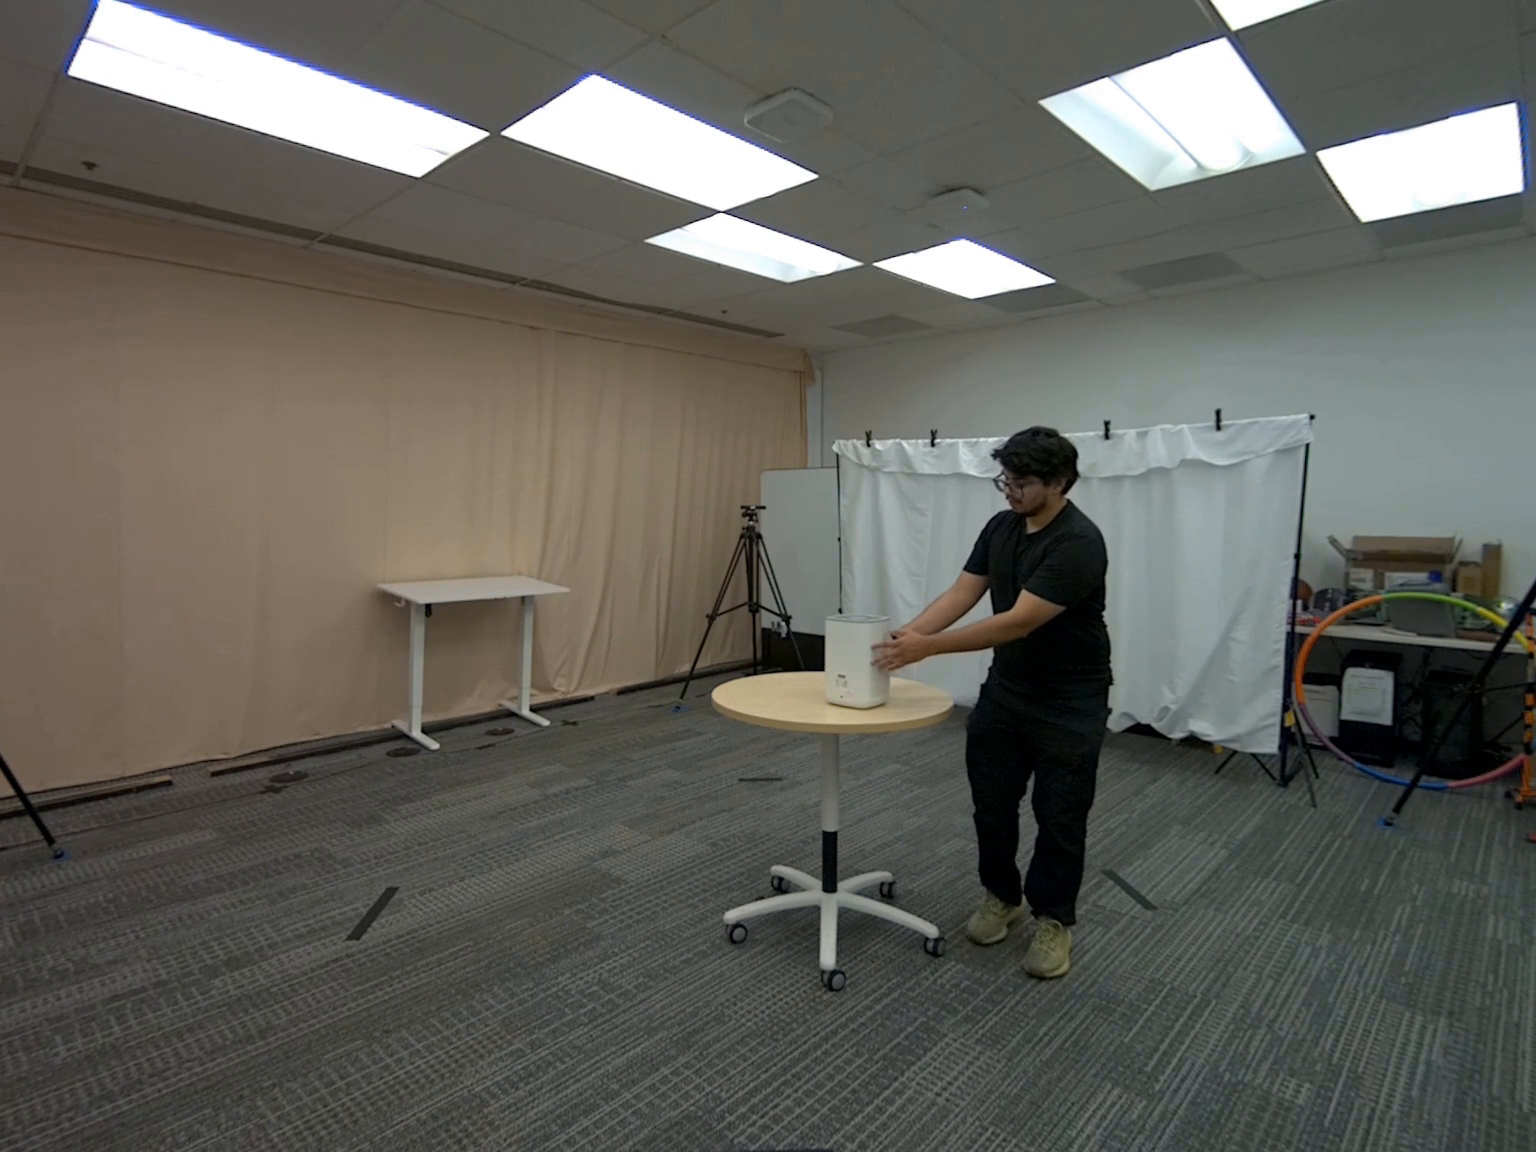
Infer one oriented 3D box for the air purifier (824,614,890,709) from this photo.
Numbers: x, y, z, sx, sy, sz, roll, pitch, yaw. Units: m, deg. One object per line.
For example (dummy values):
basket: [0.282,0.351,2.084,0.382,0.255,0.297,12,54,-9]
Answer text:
air purifier: [0.283,0.264,2.575,0.176,0.265,0.166,2,4,37]
